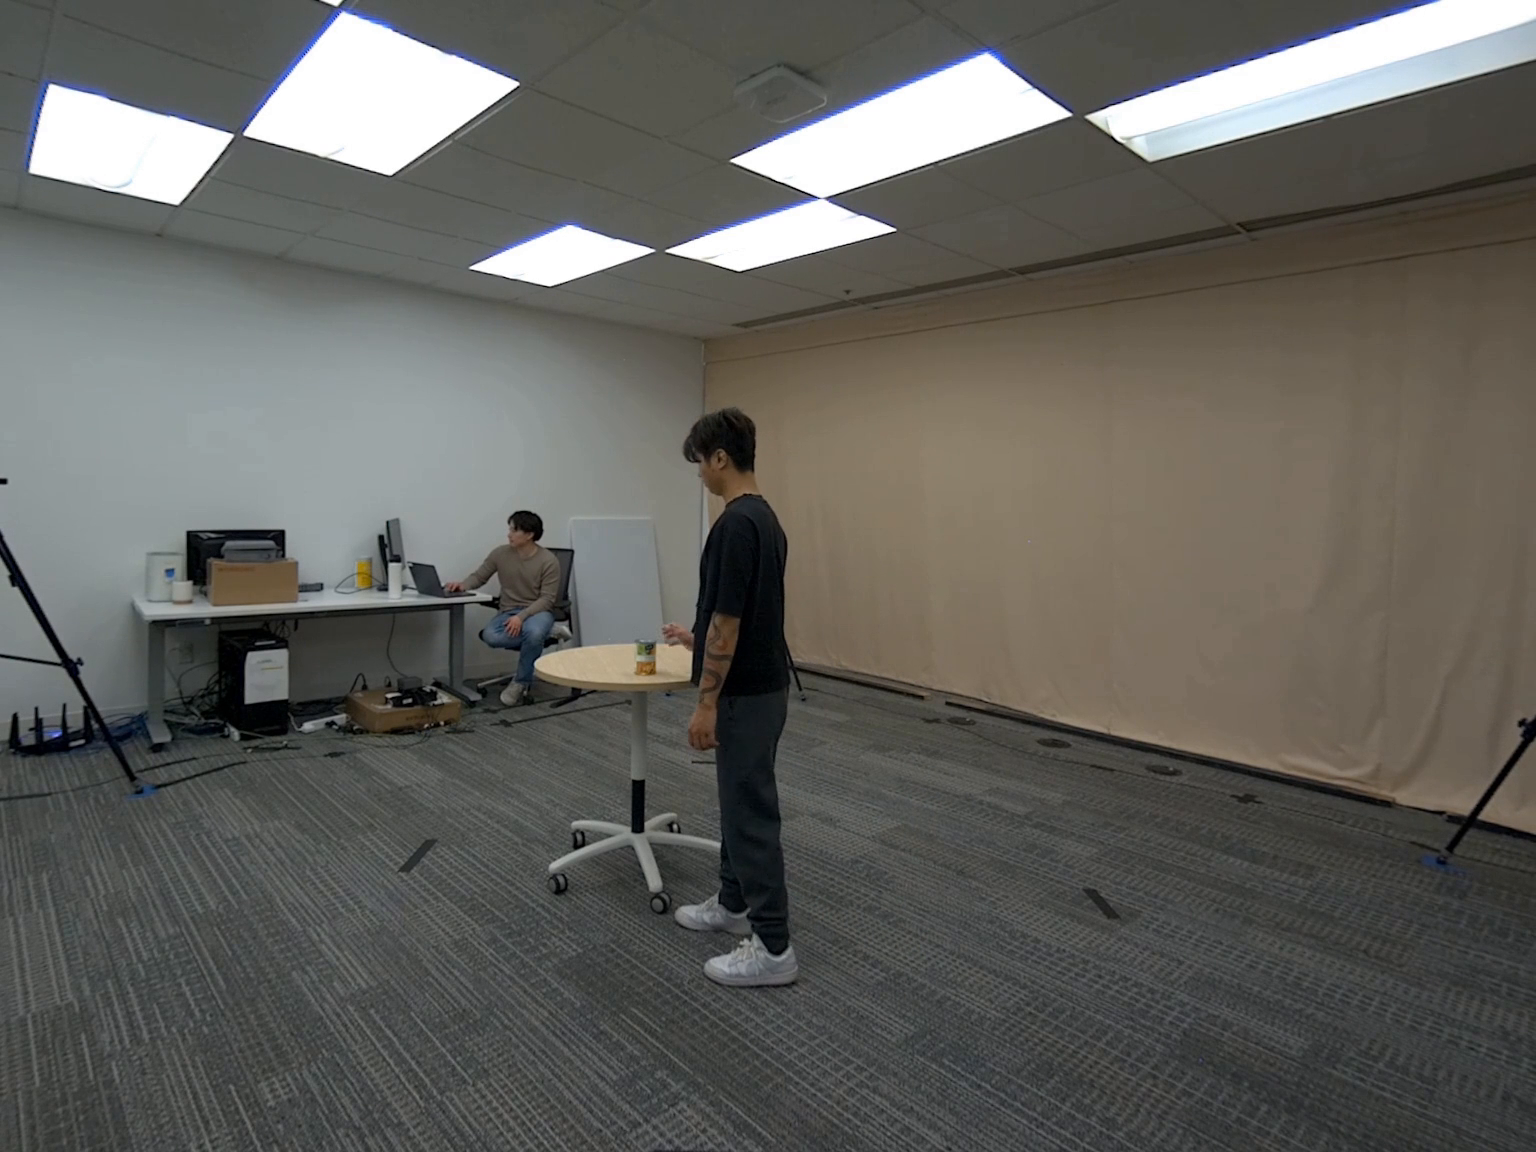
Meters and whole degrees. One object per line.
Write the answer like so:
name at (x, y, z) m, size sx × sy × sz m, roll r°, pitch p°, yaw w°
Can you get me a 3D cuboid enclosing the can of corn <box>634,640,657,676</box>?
can of corn at (-0.428, 0.283, 2.889) m, size 0.074 × 0.111 × 0.074 m, roll 2°, pitch 5°, yaw -2°
